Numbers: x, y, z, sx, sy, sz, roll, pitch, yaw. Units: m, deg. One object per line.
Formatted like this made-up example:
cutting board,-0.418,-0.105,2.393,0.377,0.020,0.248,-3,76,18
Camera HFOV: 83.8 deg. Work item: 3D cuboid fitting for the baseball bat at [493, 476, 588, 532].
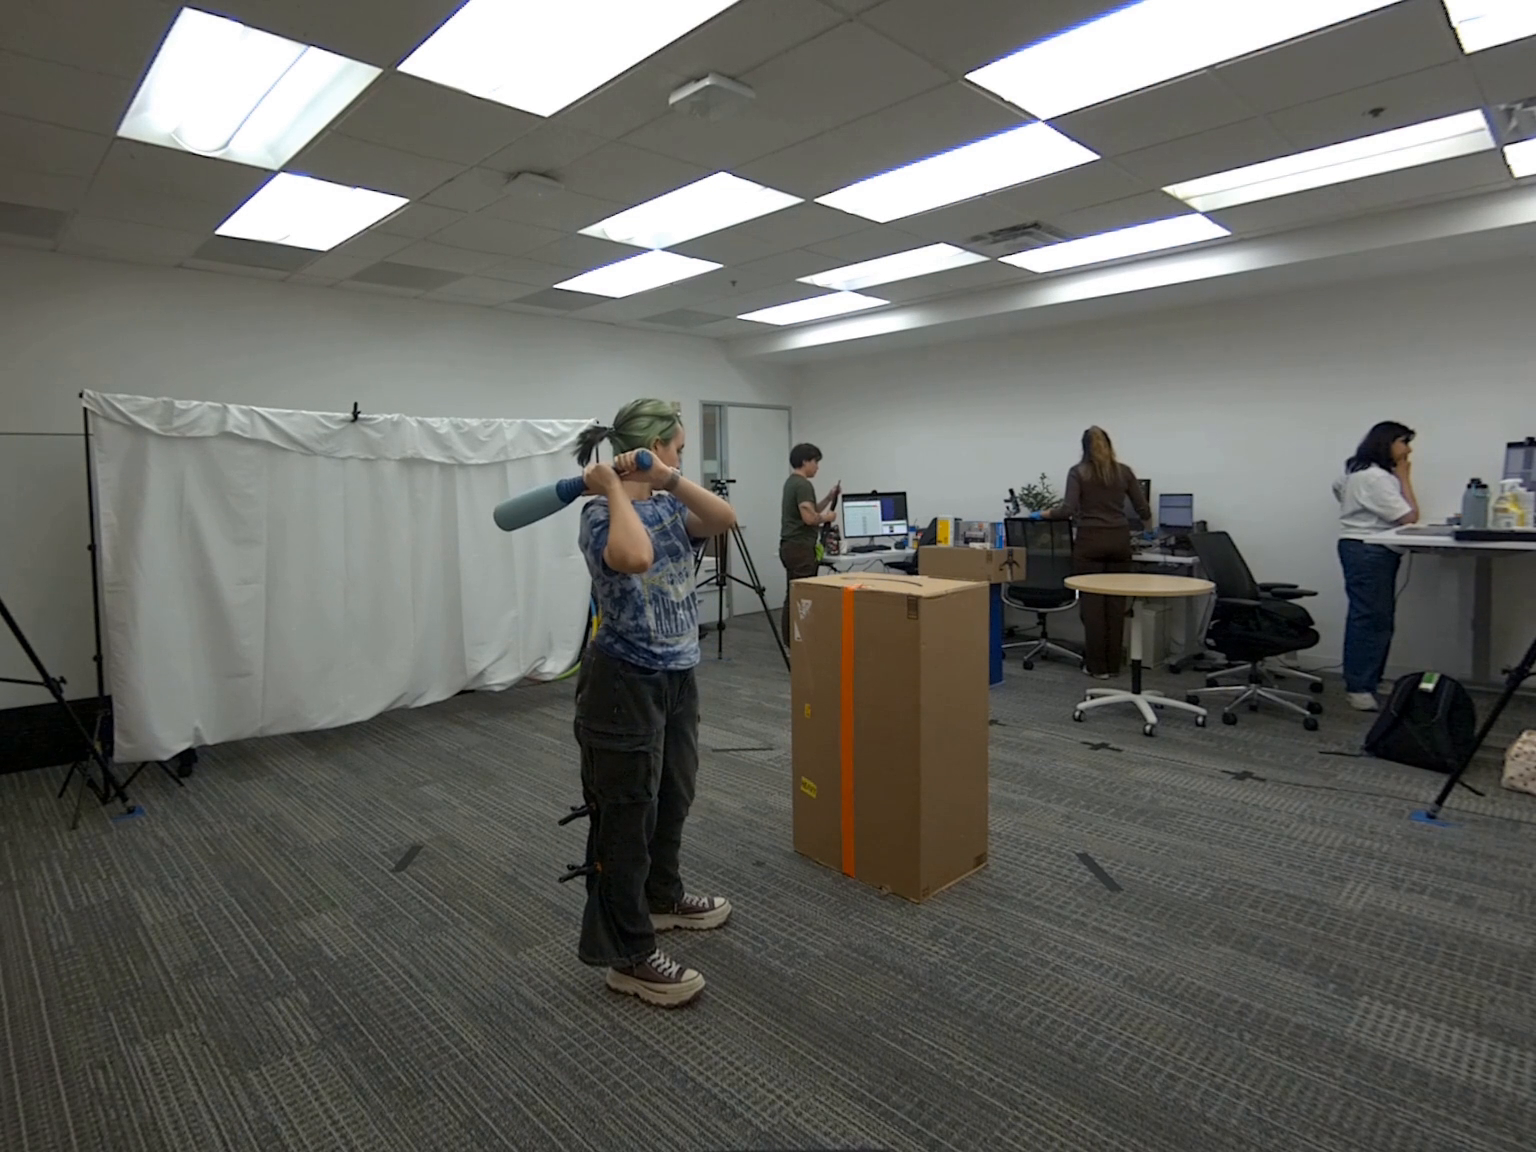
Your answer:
baseball bat,-0.511,-0.234,2.253,0.552,0.089,0.087,-16,-3,30
